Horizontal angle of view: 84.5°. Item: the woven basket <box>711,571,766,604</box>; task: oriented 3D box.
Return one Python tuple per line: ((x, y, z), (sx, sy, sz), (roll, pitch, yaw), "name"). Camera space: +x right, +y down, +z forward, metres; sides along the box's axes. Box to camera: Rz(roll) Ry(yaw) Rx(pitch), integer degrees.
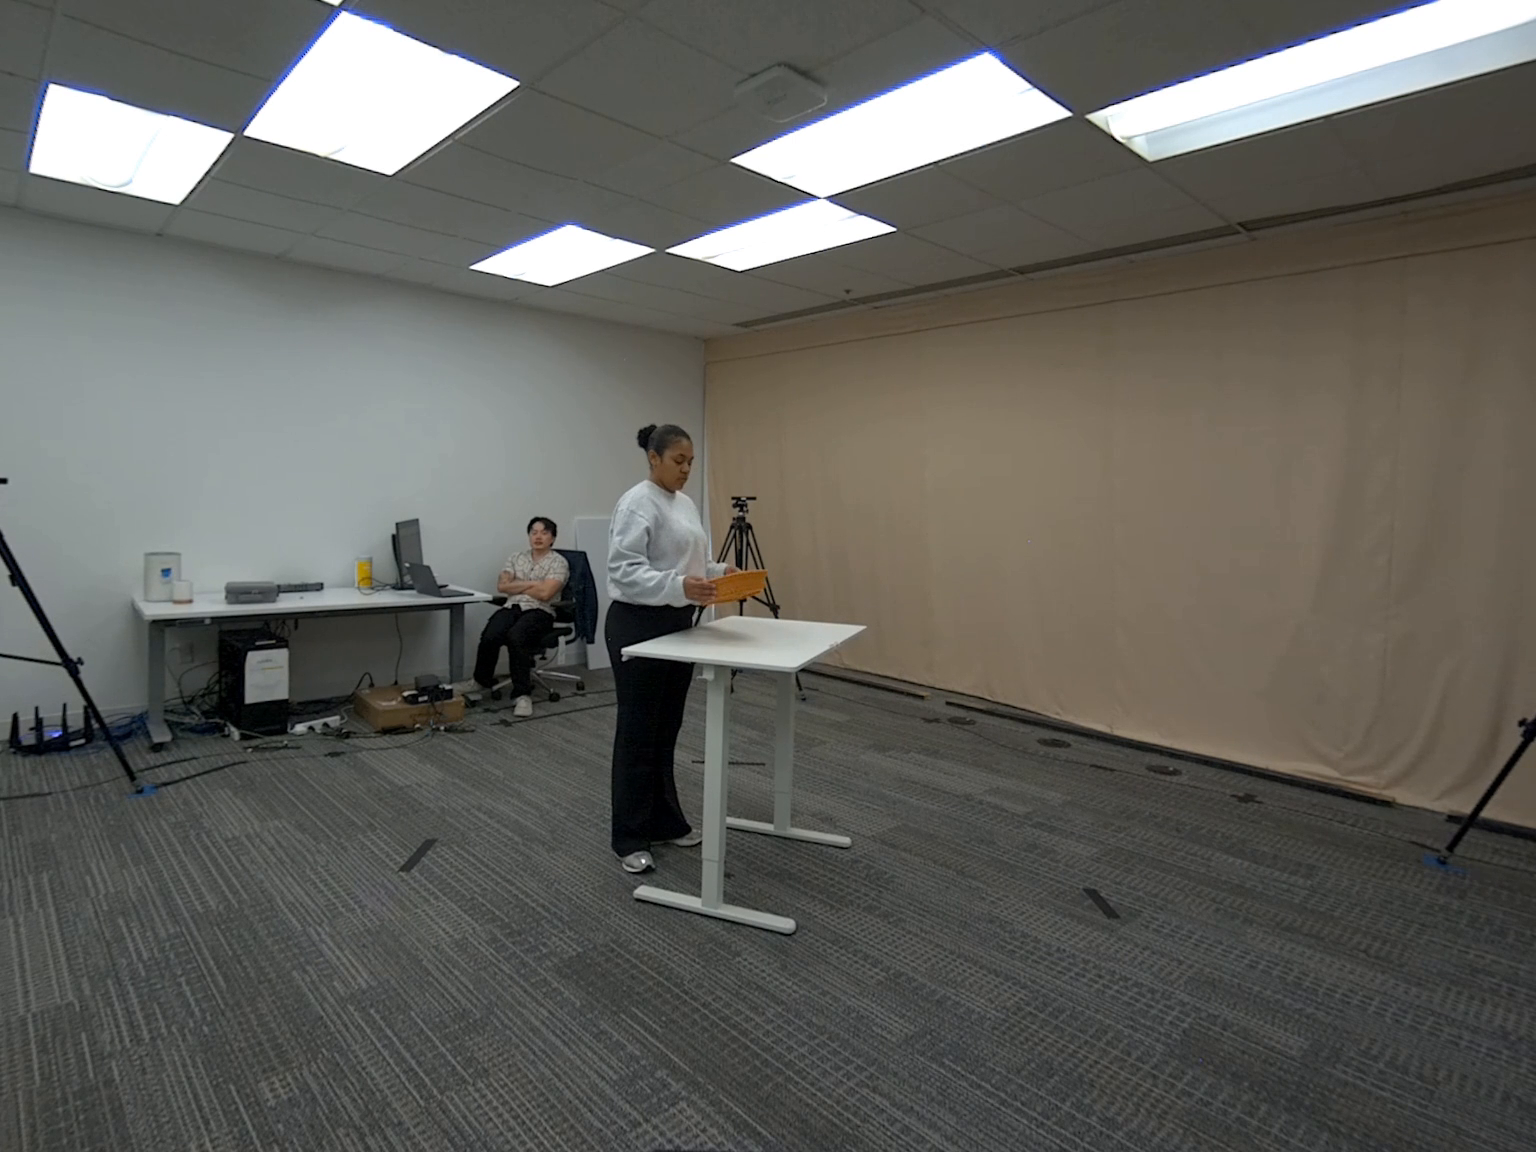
((-0.177, 0.059, 3.061), (0.256, 0.074, 0.343), (-17, -5, 39), "woven basket")
